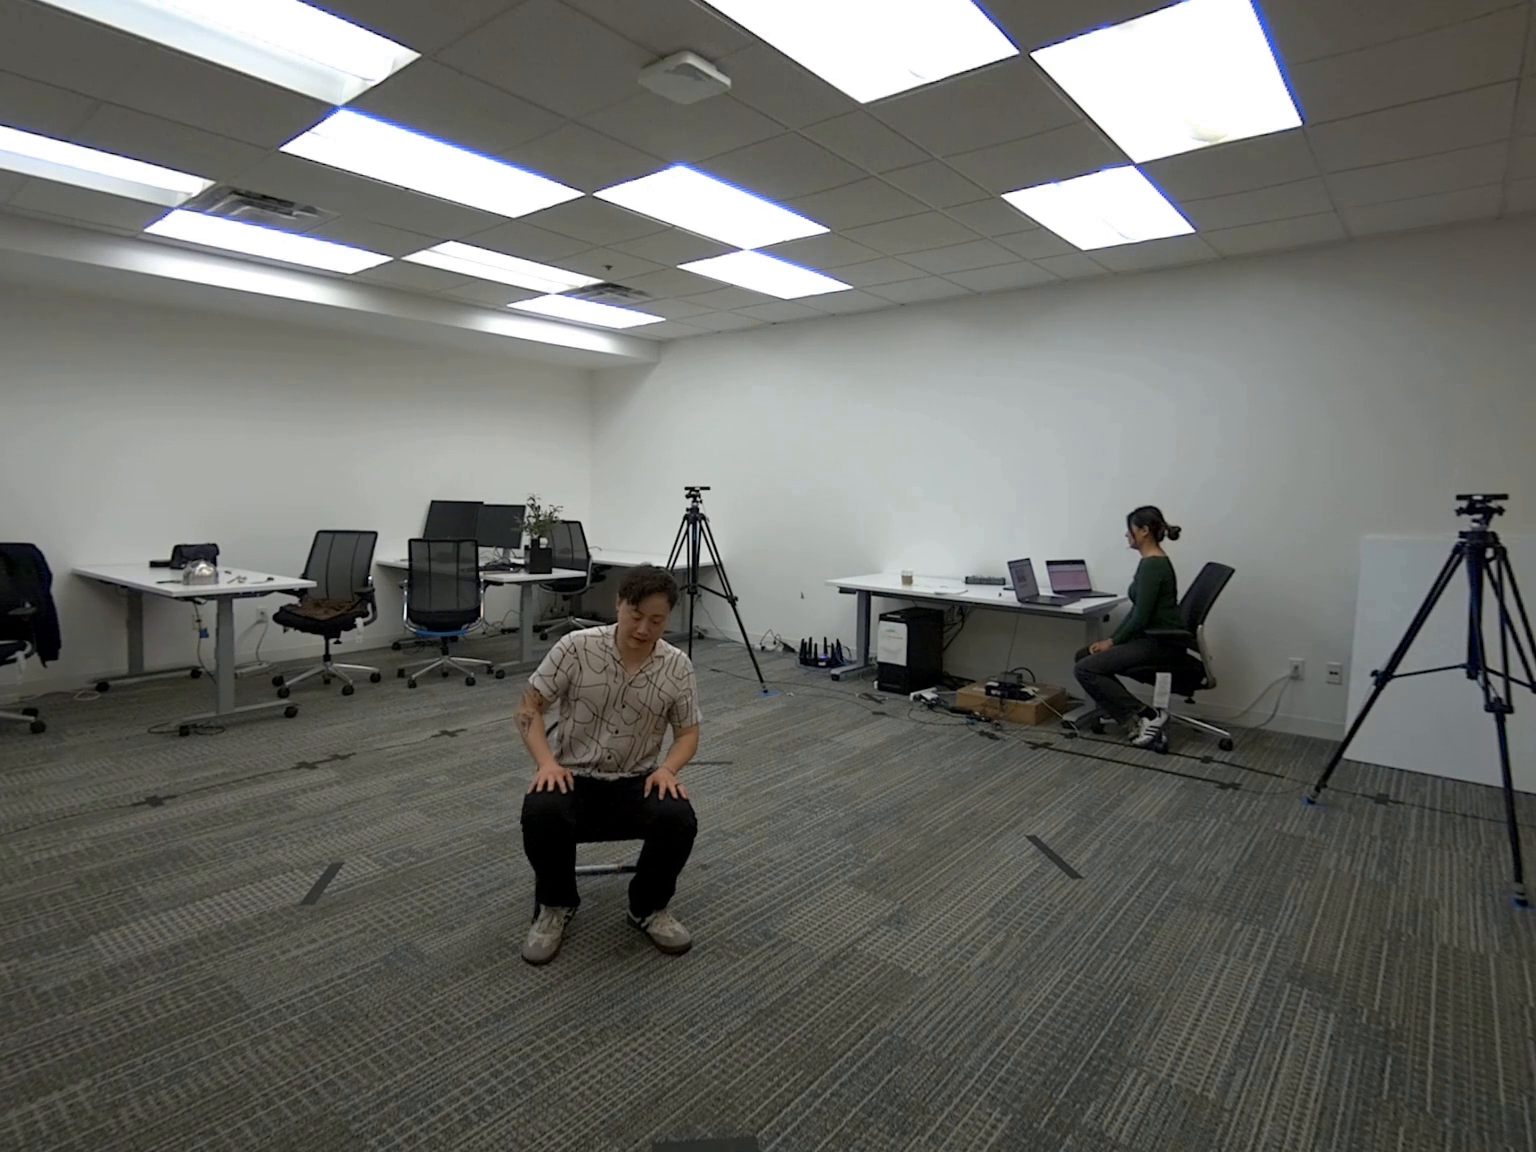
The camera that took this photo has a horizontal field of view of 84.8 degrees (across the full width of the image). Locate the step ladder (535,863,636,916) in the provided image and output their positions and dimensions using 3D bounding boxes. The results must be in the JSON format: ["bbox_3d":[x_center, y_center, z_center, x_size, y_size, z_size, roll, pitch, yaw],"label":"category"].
[{"bbox_3d":[-0.586,0.784,2.889,0.425,0.604,0.355,-1,3,-13],"label":"step ladder"}]
